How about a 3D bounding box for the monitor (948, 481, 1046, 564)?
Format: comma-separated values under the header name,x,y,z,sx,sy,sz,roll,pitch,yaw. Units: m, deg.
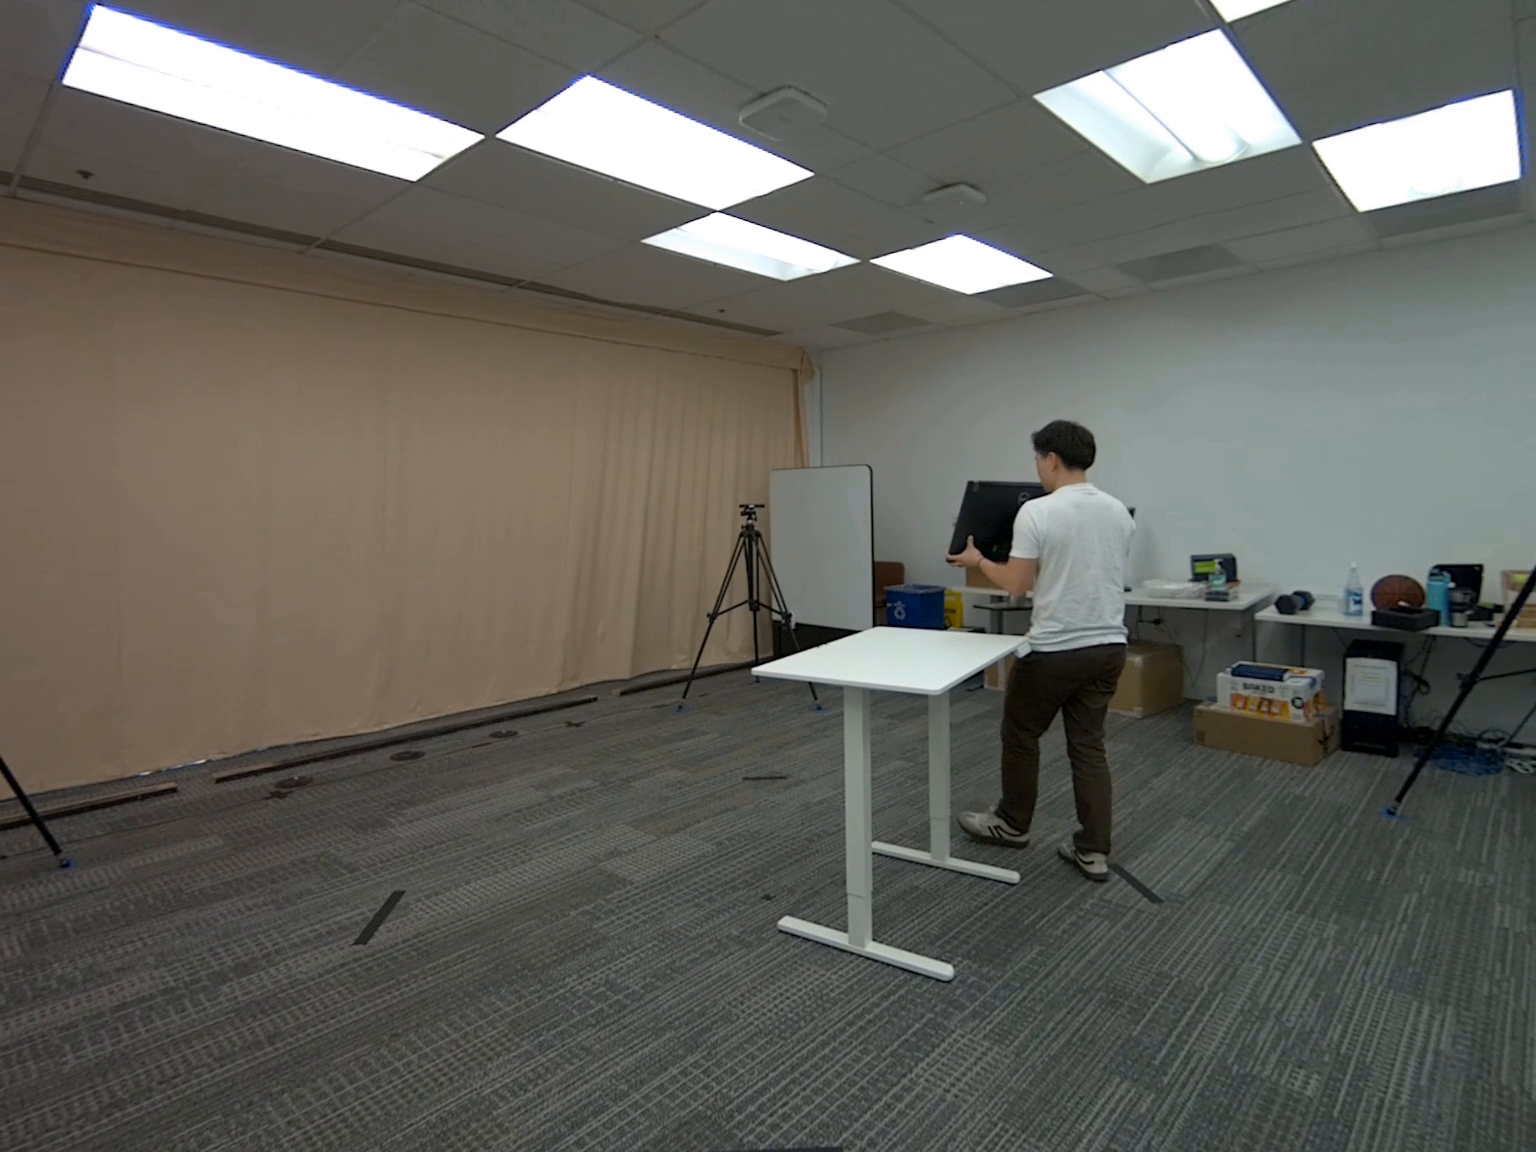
name,x,y,z,sx,sy,sz,roll,pitch,yaw
monitor,1.014,-0.123,3.436,0.526,0.520,0.192,-1,9,-25
